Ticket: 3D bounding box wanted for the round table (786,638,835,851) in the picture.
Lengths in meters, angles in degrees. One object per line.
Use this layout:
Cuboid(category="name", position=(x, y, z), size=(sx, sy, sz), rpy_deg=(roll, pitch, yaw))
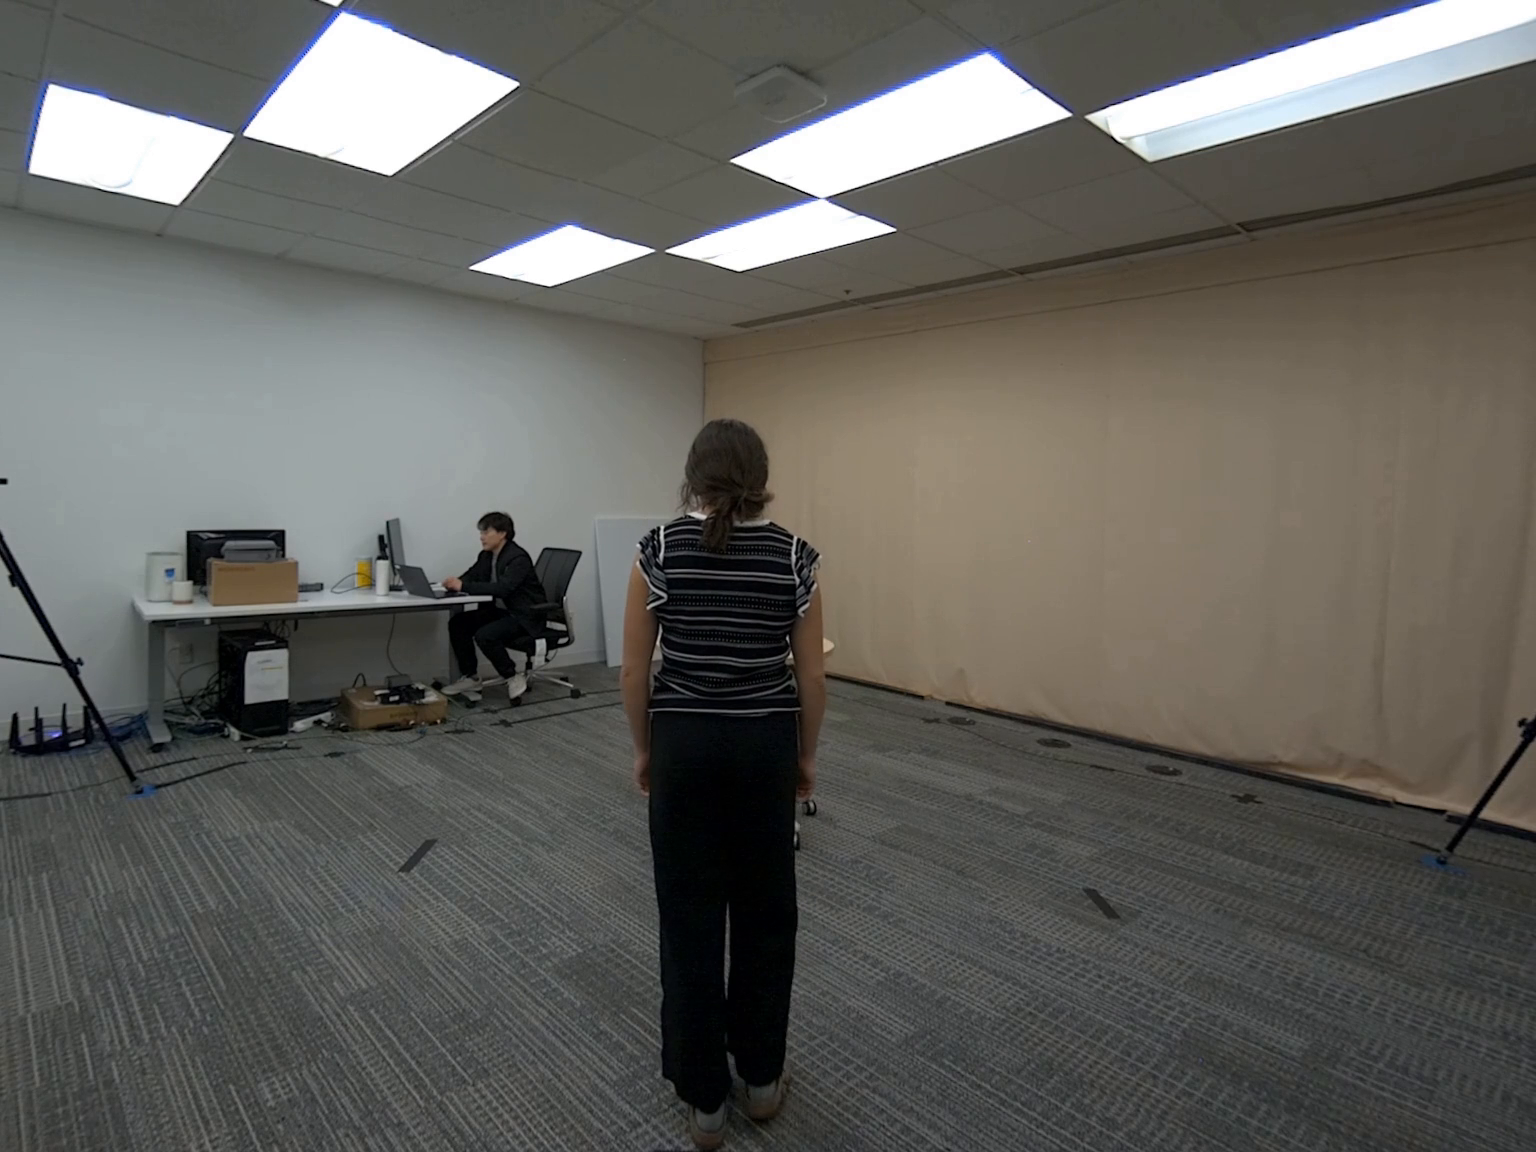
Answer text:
Cuboid(category="round table", position=(-0.120, 0.680, 3.618), size=(0.763, 0.792, 0.767), rpy_deg=(2, 4, -1))
